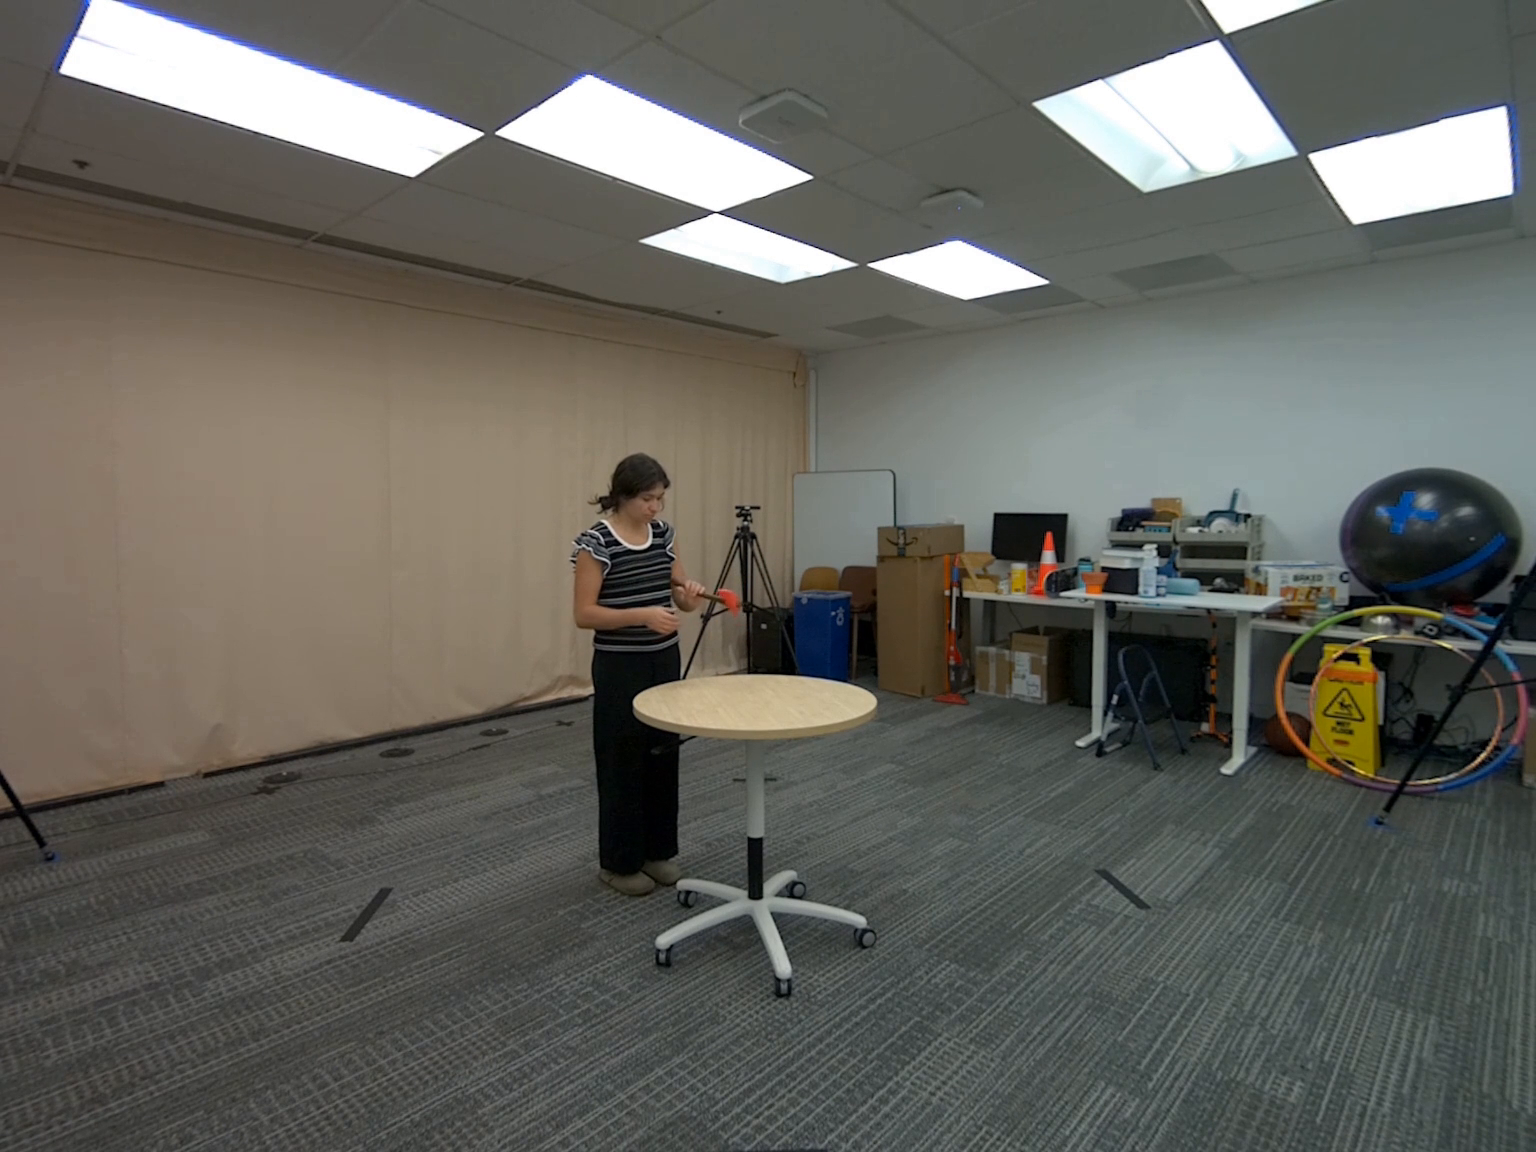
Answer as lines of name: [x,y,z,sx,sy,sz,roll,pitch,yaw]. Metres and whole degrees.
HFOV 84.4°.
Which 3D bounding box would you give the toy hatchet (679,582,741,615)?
toy hatchet: [-0.223,0.059,2.888,0.272,0.029,0.130,25,-30,6]
